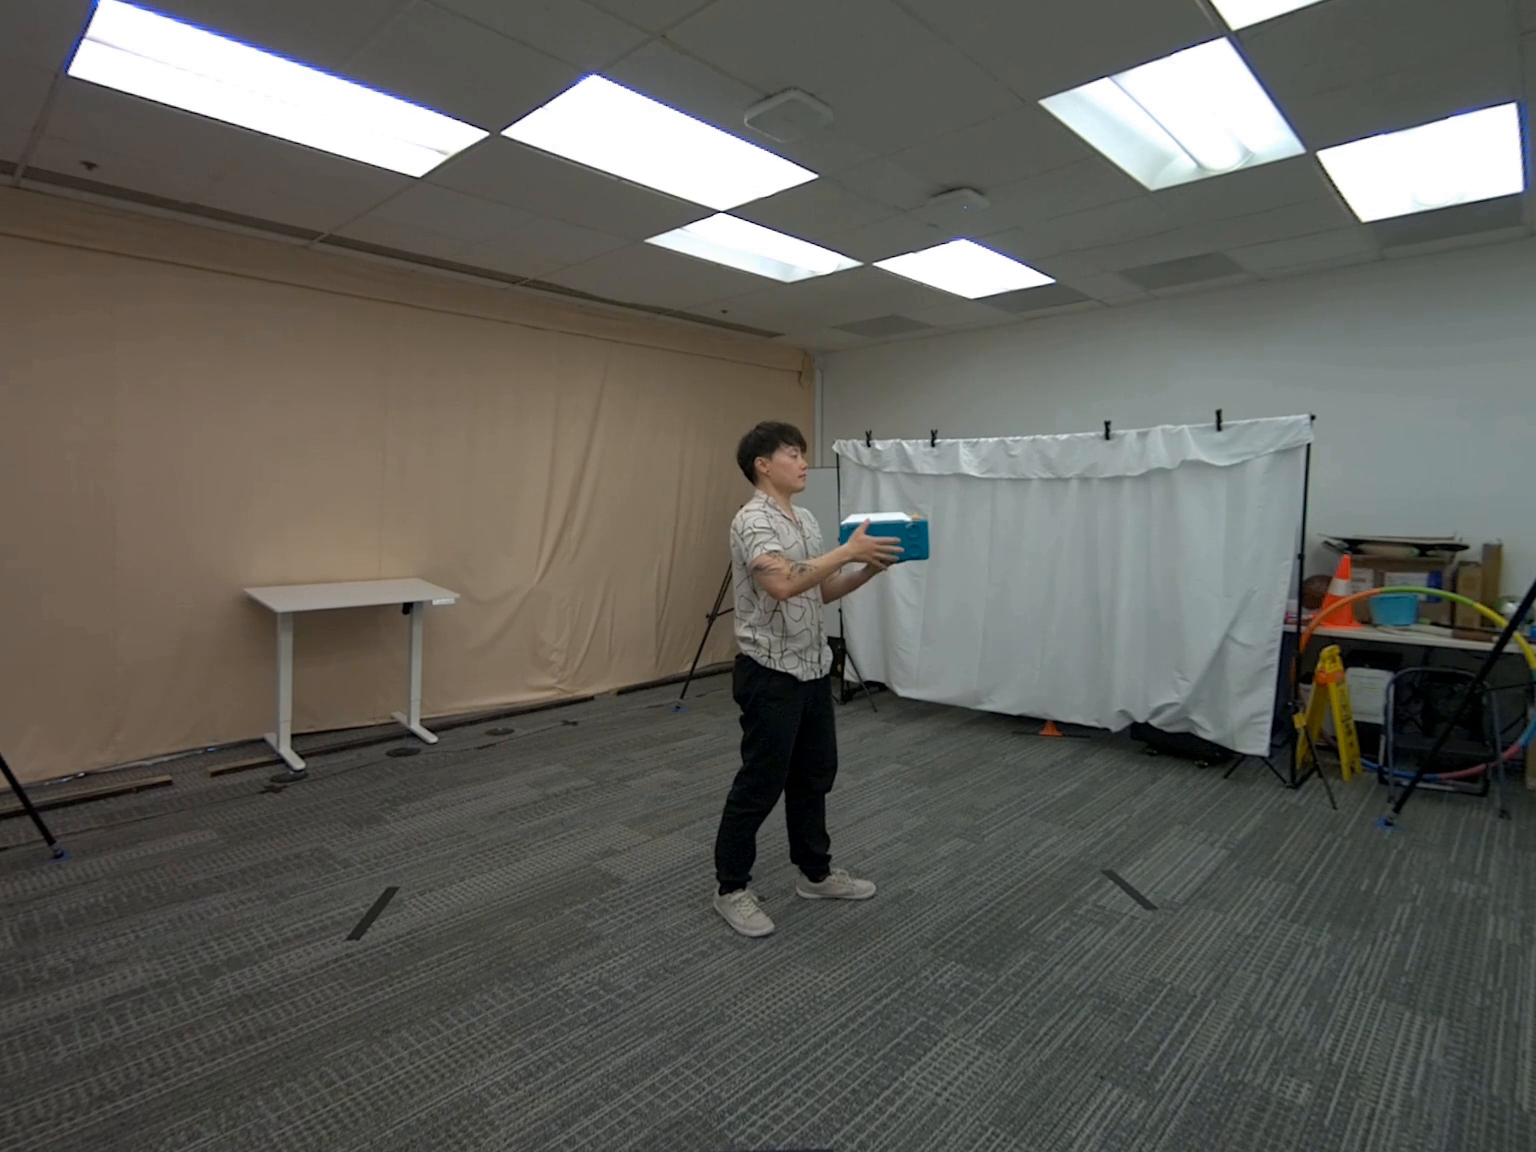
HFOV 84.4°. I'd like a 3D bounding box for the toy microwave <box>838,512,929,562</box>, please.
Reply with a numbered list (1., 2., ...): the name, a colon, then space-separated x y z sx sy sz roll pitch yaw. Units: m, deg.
1. toy microwave: 0.379 -0.128 2.732 0.290 0.152 0.182 -3 5 12
